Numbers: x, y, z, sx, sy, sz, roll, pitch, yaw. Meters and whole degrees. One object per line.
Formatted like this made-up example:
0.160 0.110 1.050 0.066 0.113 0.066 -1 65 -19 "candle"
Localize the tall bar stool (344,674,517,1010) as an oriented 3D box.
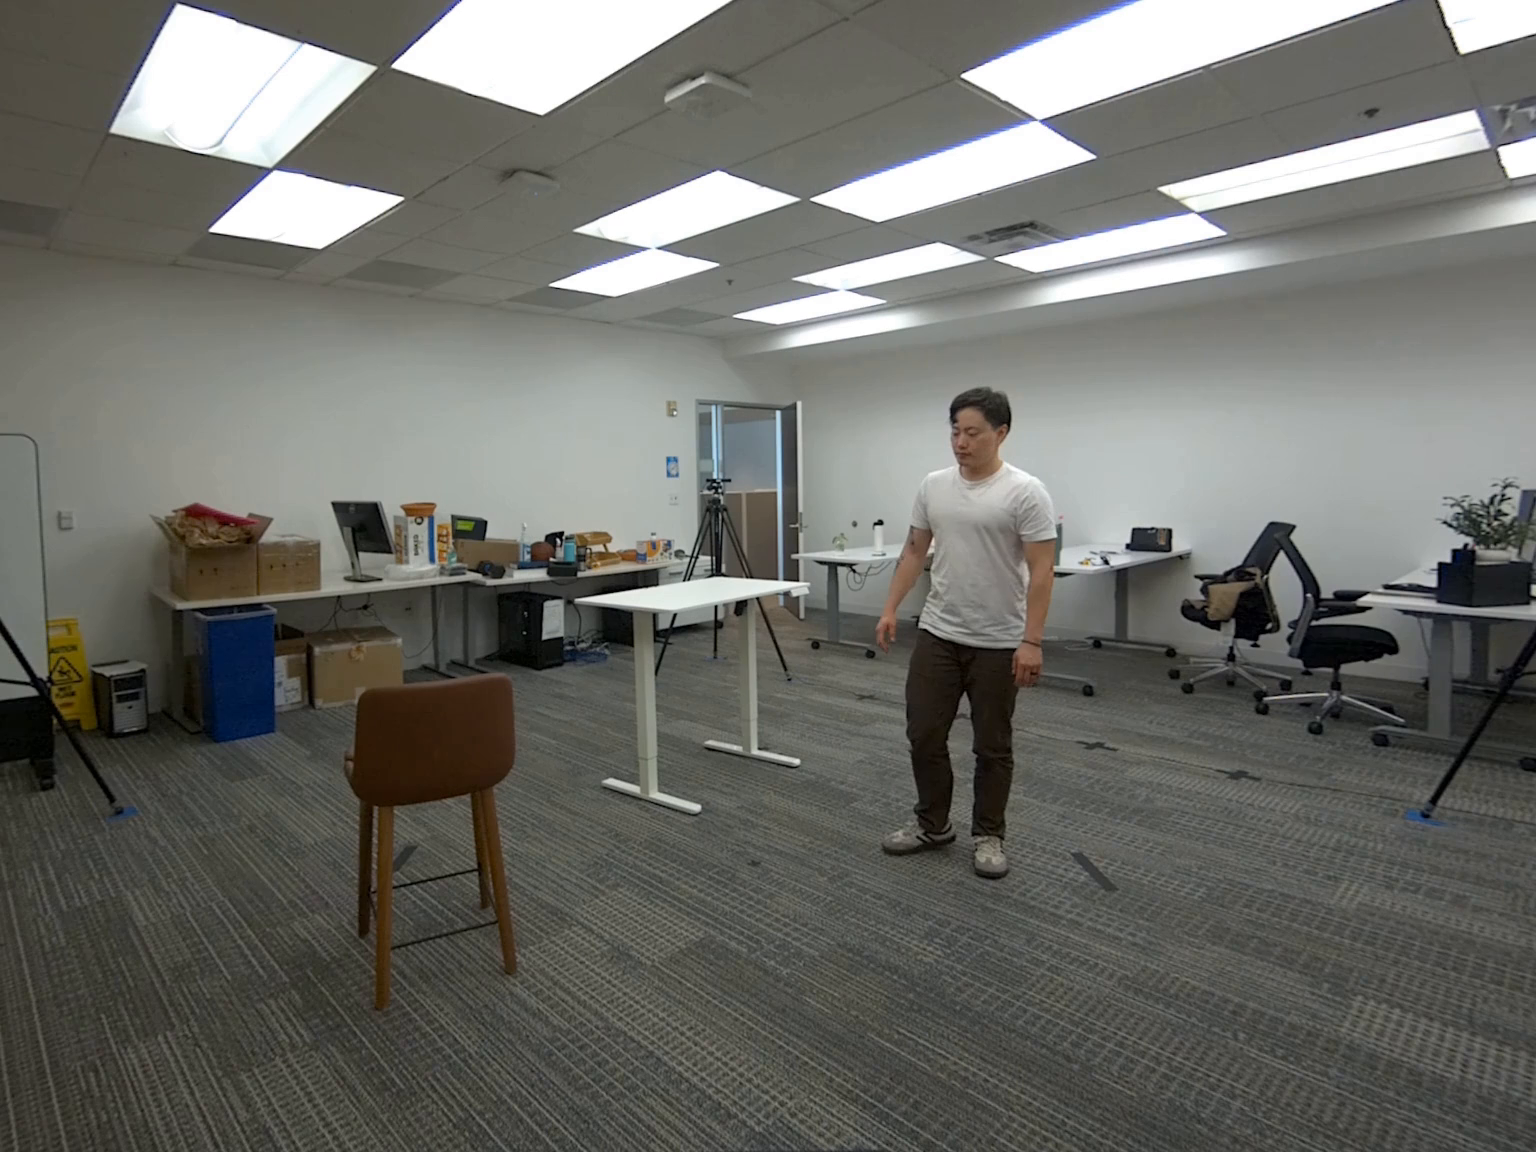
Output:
-0.994 0.695 2.527 0.446 0.885 0.481 -3 7 -28 "tall bar stool"
